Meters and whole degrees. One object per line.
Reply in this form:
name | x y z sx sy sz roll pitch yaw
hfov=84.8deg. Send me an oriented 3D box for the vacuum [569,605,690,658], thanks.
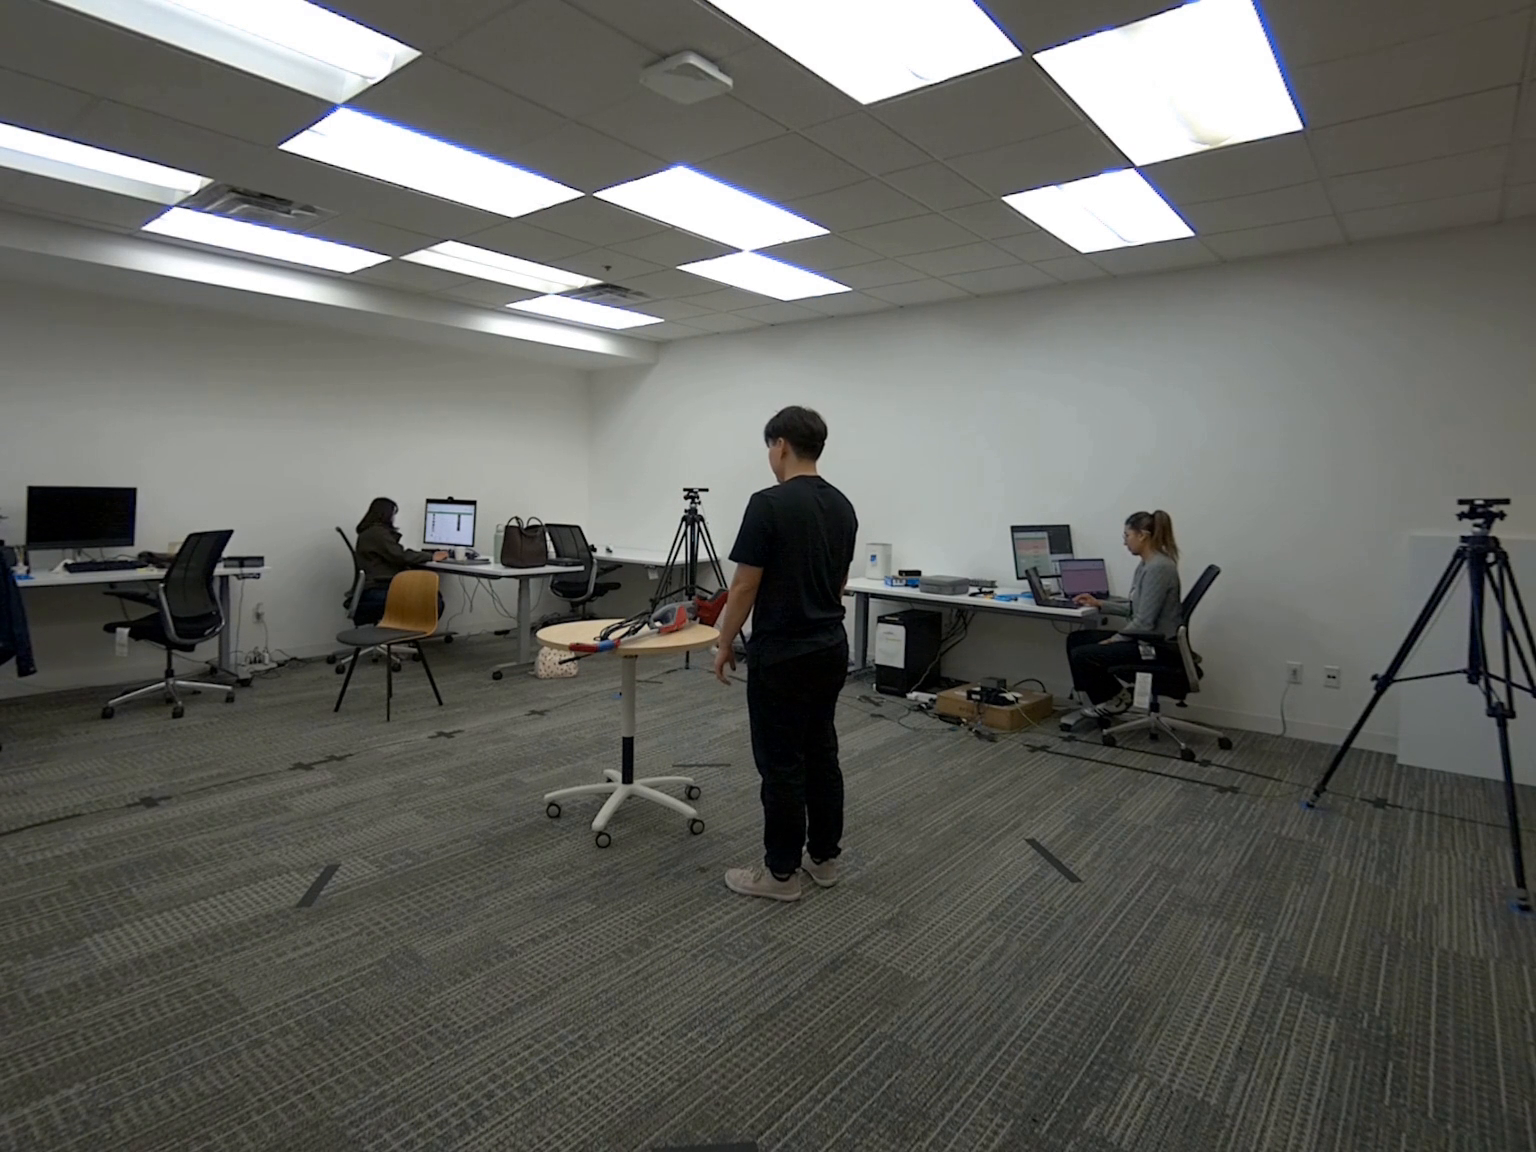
vacuum | -0.496 0.212 3.501 0.148 0.251 1.027 34 18 17
